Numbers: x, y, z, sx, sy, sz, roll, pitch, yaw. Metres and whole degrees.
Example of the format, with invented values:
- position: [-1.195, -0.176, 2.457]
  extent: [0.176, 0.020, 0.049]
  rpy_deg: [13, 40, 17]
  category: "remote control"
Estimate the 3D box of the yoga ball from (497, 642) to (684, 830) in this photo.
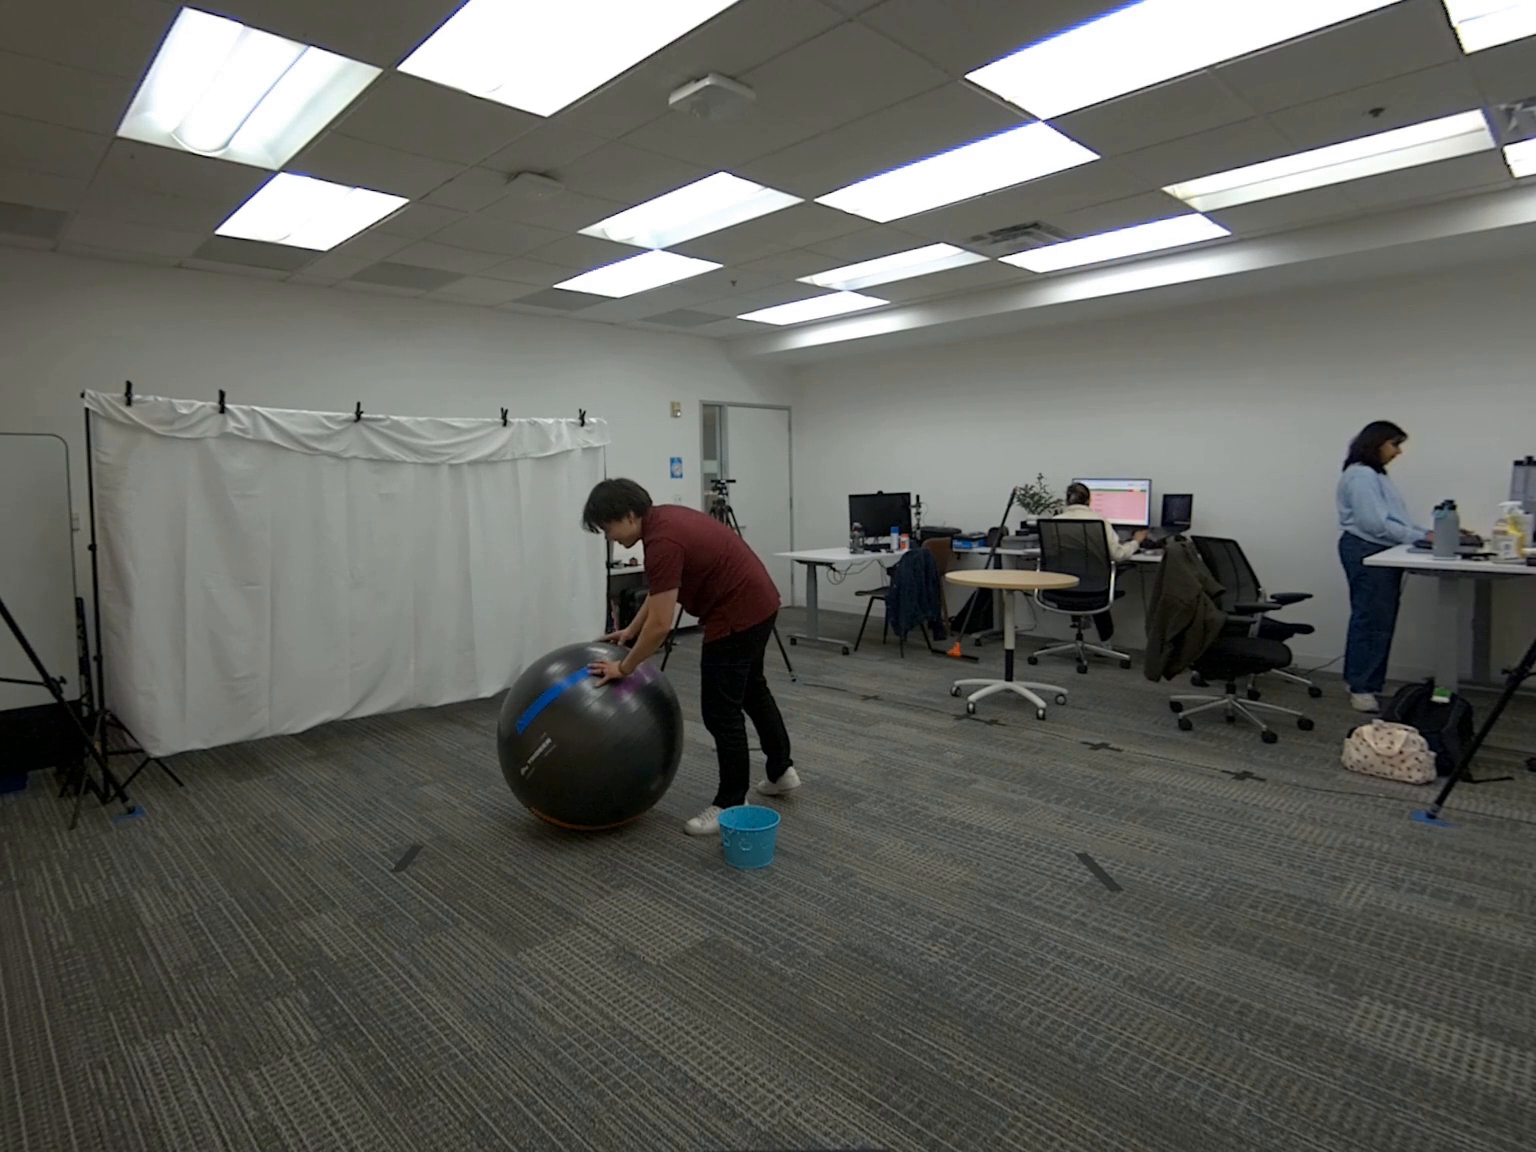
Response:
- position: [-0.729, 0.652, 3.522]
  extent: [0.757, 0.755, 0.762]
  rpy_deg: [-1, 5, -2]
  category: "yoga ball"
